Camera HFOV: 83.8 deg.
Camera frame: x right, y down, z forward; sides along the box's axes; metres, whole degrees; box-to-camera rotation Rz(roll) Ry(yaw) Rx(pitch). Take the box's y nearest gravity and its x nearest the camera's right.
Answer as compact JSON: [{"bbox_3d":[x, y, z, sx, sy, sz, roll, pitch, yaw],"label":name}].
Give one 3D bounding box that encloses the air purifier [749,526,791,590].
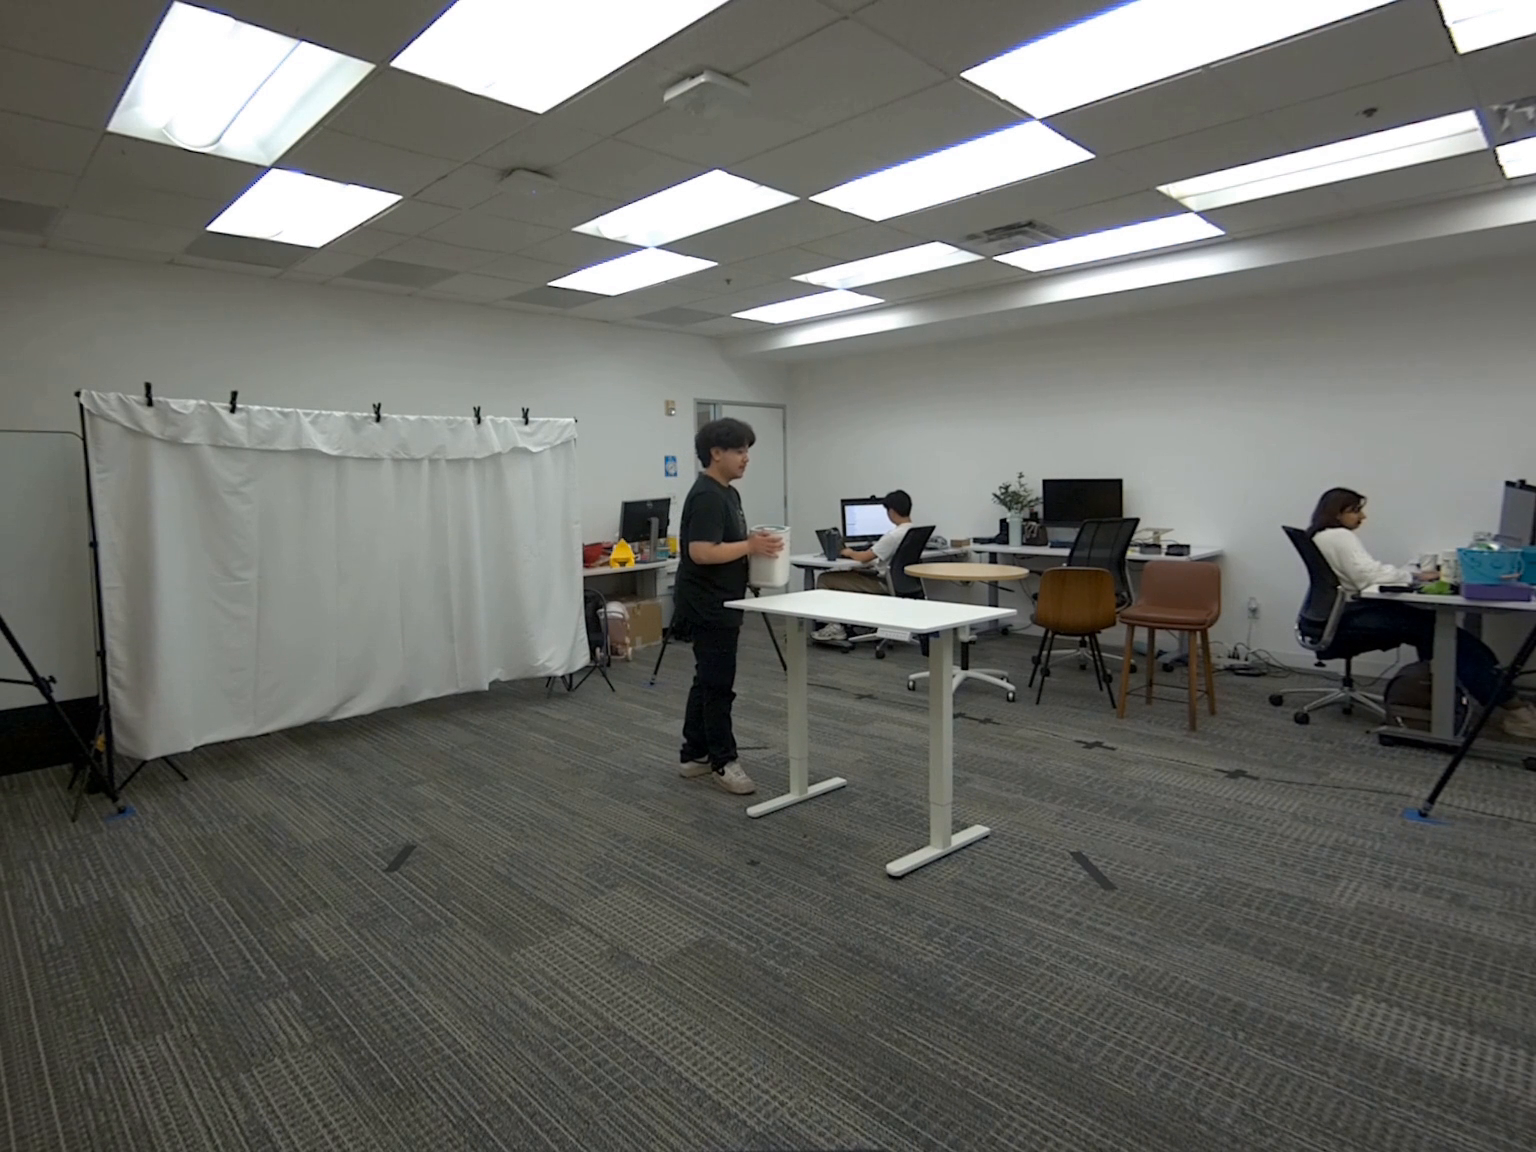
[{"bbox_3d":[-0.001,-0.087,3.889,0.175,0.263,0.169,4,11,17],"label":"air purifier"}]
